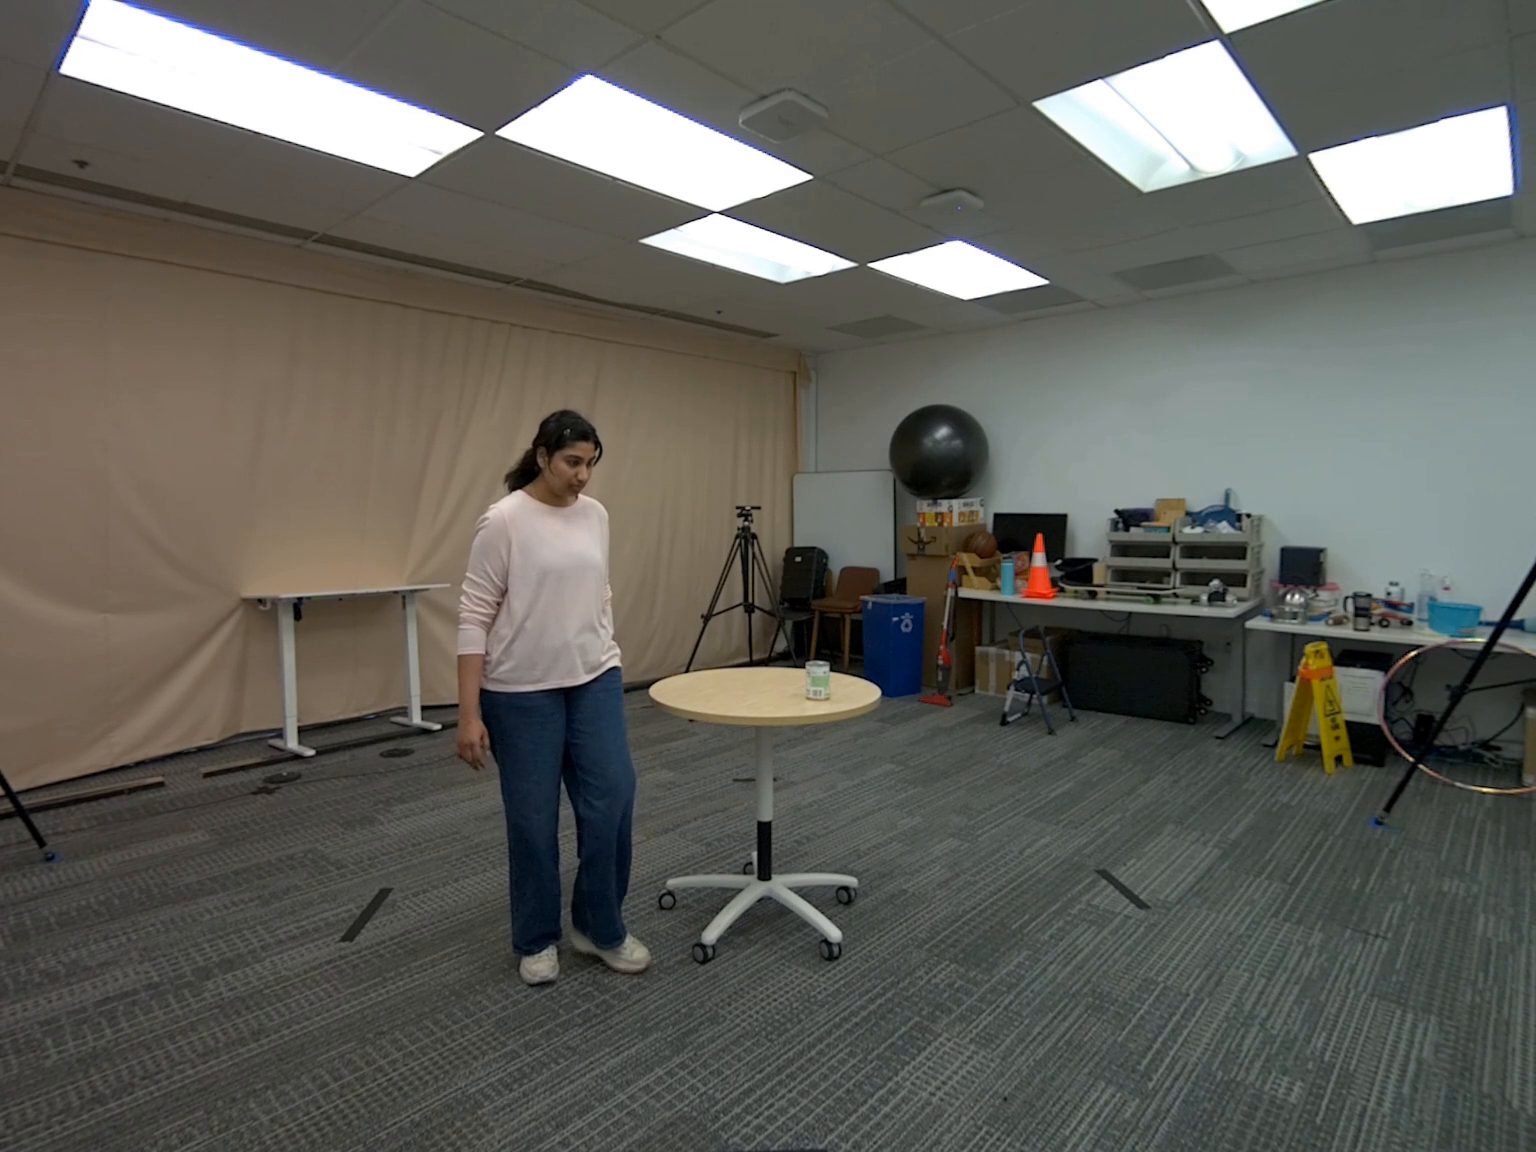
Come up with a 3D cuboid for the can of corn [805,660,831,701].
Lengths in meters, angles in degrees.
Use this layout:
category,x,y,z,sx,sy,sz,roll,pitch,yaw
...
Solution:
category,x,y,z,sx,sy,sz,roll,pitch,yaw
can of corn,0.163,0.333,2.632,0.074,0.111,0.074,-2,5,-2
